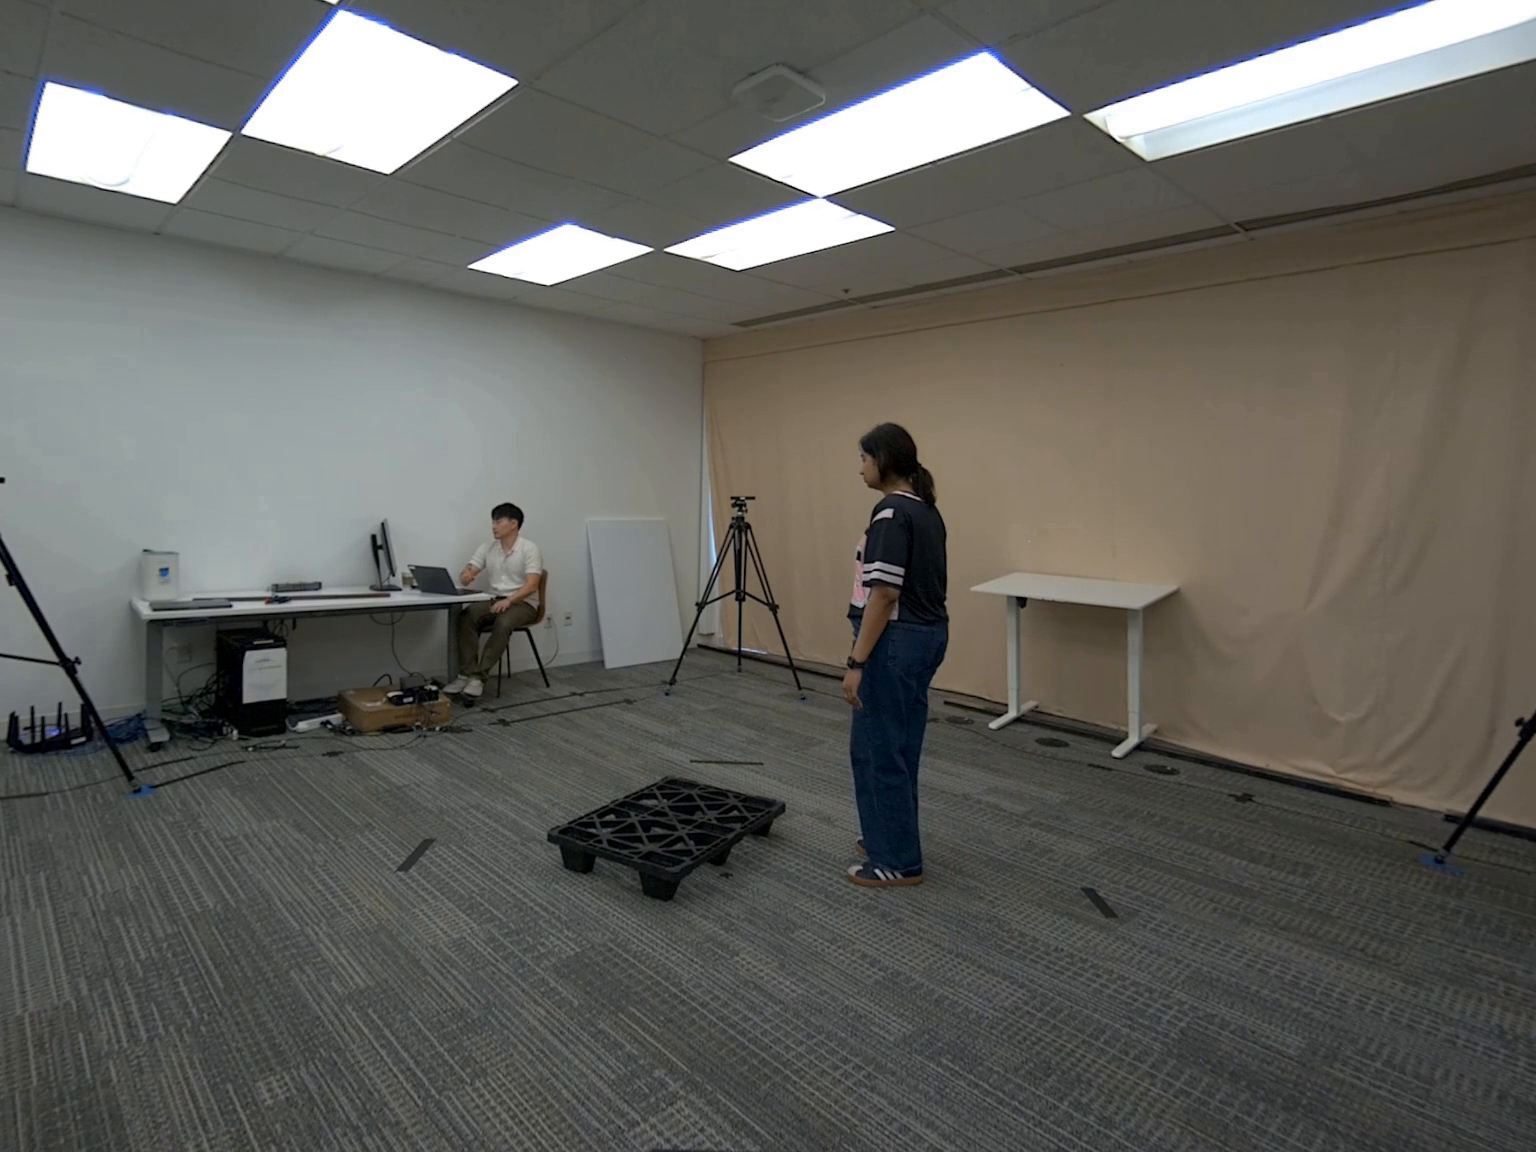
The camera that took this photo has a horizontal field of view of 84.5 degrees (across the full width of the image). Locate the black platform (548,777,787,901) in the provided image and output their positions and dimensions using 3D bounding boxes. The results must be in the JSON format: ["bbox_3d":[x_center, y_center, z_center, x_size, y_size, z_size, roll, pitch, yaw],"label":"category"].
[{"bbox_3d":[-0.376,1.011,3.316,0.619,0.143,0.790,5,6,30],"label":"black platform"}]
